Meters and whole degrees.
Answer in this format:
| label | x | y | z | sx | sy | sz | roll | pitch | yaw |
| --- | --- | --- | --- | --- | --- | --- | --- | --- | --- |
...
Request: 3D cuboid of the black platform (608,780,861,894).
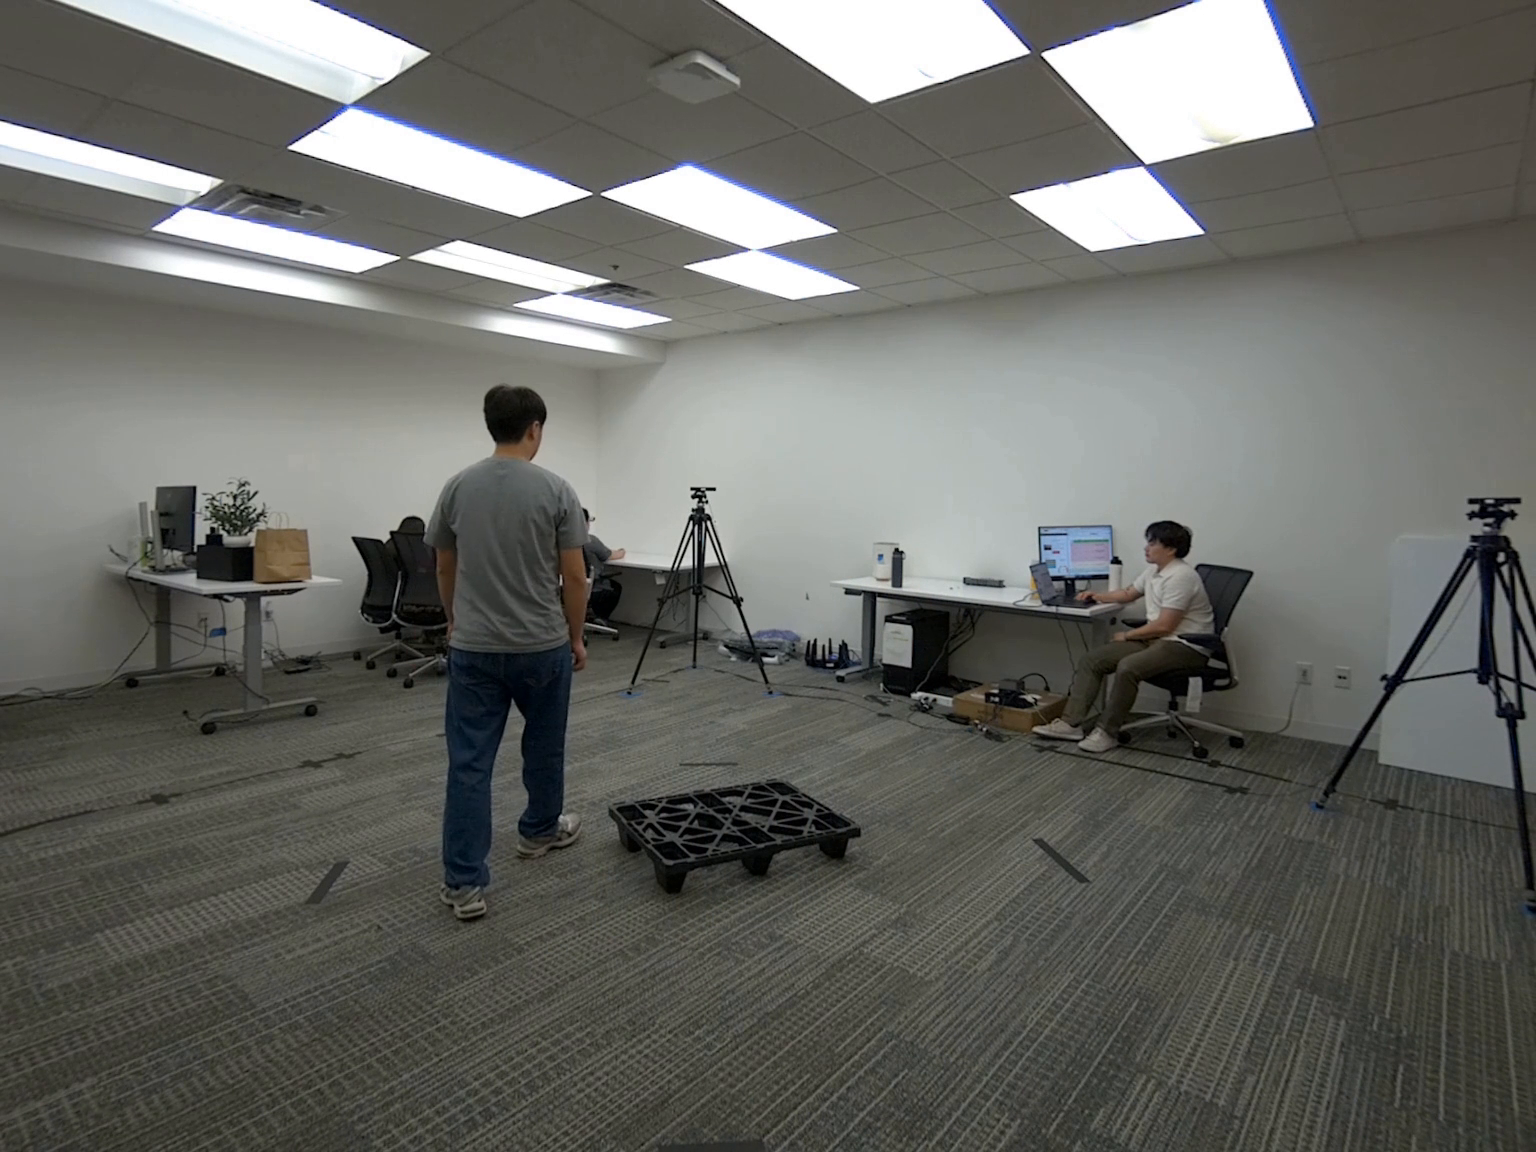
| label | x | y | z | sx | sy | sz | roll | pitch | yaw |
| --- | --- | --- | --- | --- | --- | --- | --- | --- | --- |
| black platform | -0.142 | 0.987 | 3.267 | 0.785 | 0.143 | 0.623 | -2 | 7 | -28 |
